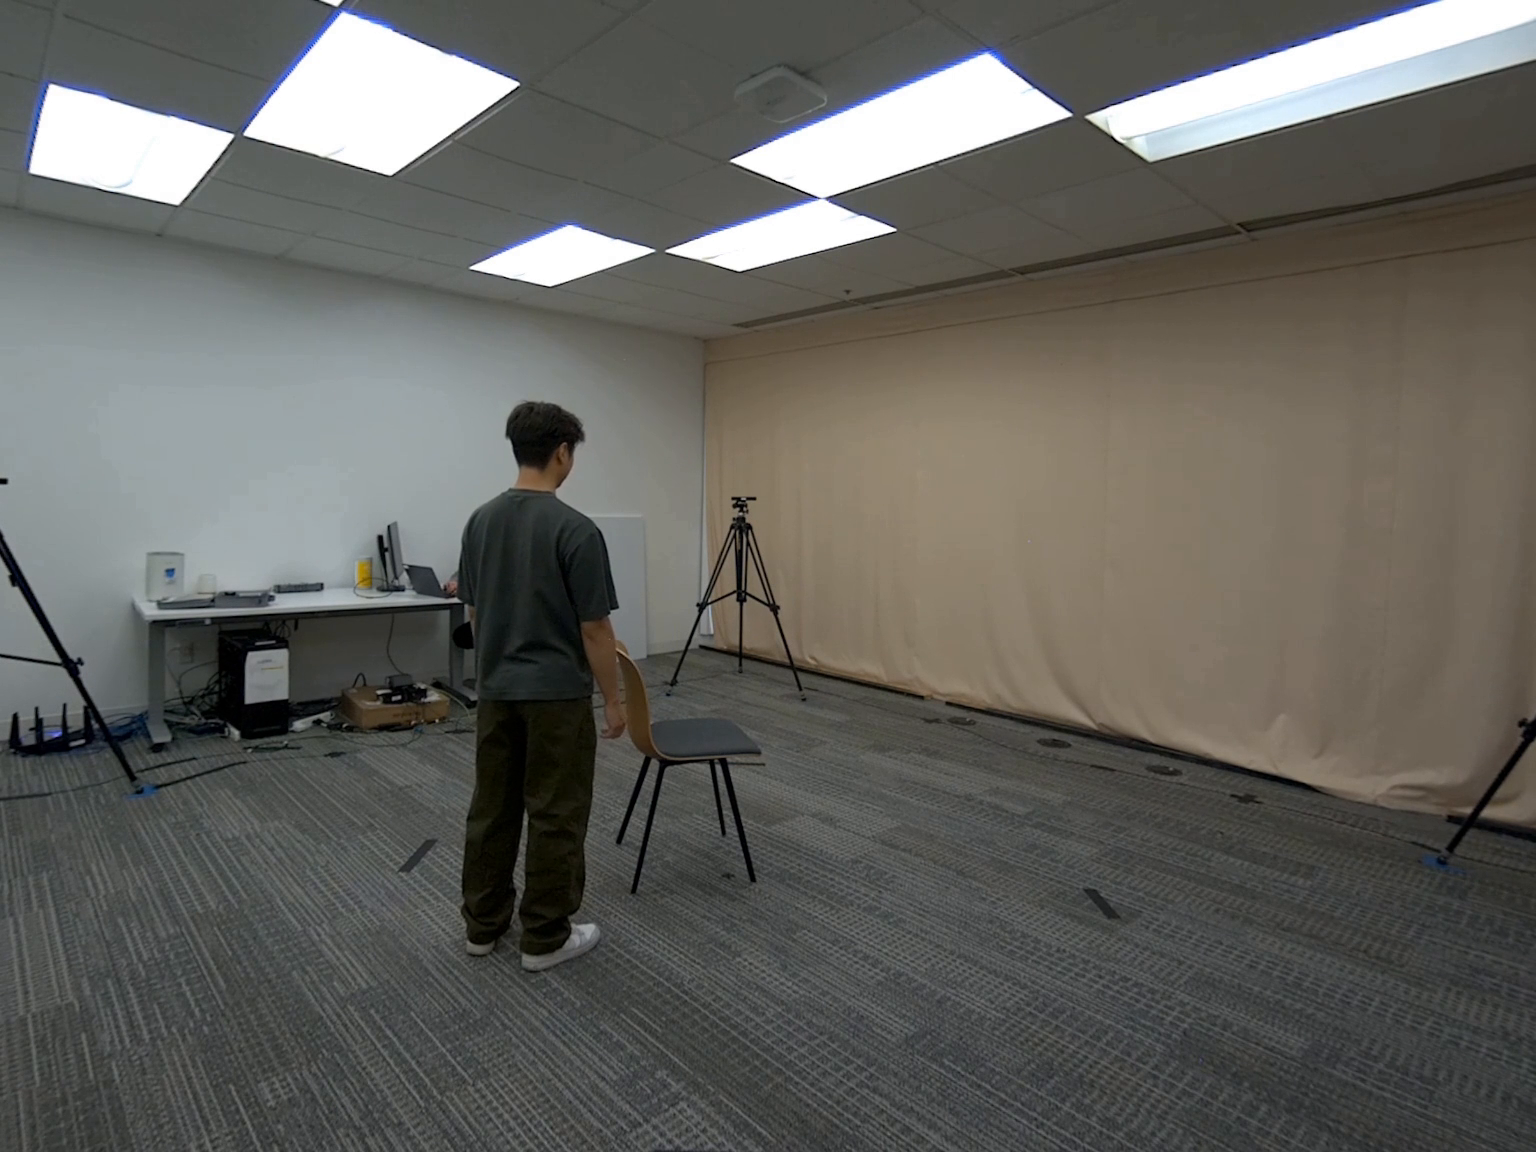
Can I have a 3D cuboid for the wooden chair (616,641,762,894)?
[{"bbox_3d":[-0.314,0.668,3.187,0.517,0.875,0.485,-4,4,-16],"label":"wooden chair"}]
